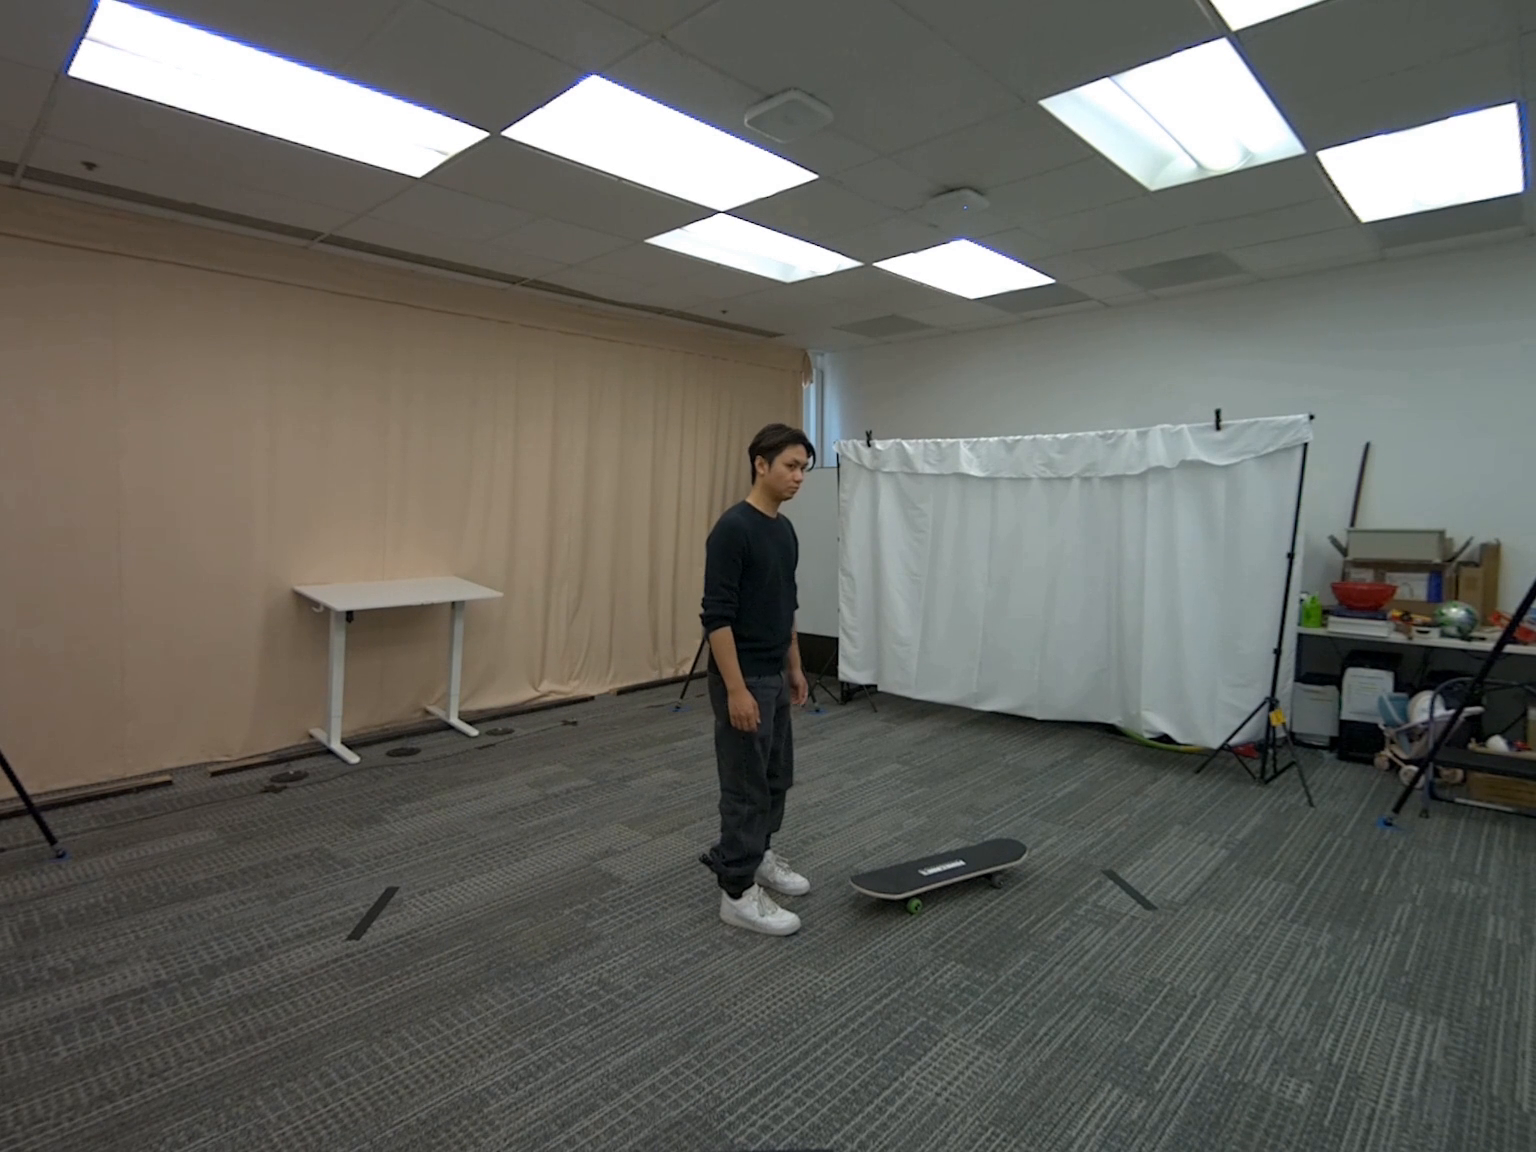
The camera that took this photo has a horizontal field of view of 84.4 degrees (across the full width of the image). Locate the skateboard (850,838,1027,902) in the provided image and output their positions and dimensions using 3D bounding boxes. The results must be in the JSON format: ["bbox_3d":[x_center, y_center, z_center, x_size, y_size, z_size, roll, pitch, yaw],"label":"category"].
[{"bbox_3d":[0.632,1.086,3.026,0.765,0.110,0.199,-2,6,-29],"label":"skateboard"}]
